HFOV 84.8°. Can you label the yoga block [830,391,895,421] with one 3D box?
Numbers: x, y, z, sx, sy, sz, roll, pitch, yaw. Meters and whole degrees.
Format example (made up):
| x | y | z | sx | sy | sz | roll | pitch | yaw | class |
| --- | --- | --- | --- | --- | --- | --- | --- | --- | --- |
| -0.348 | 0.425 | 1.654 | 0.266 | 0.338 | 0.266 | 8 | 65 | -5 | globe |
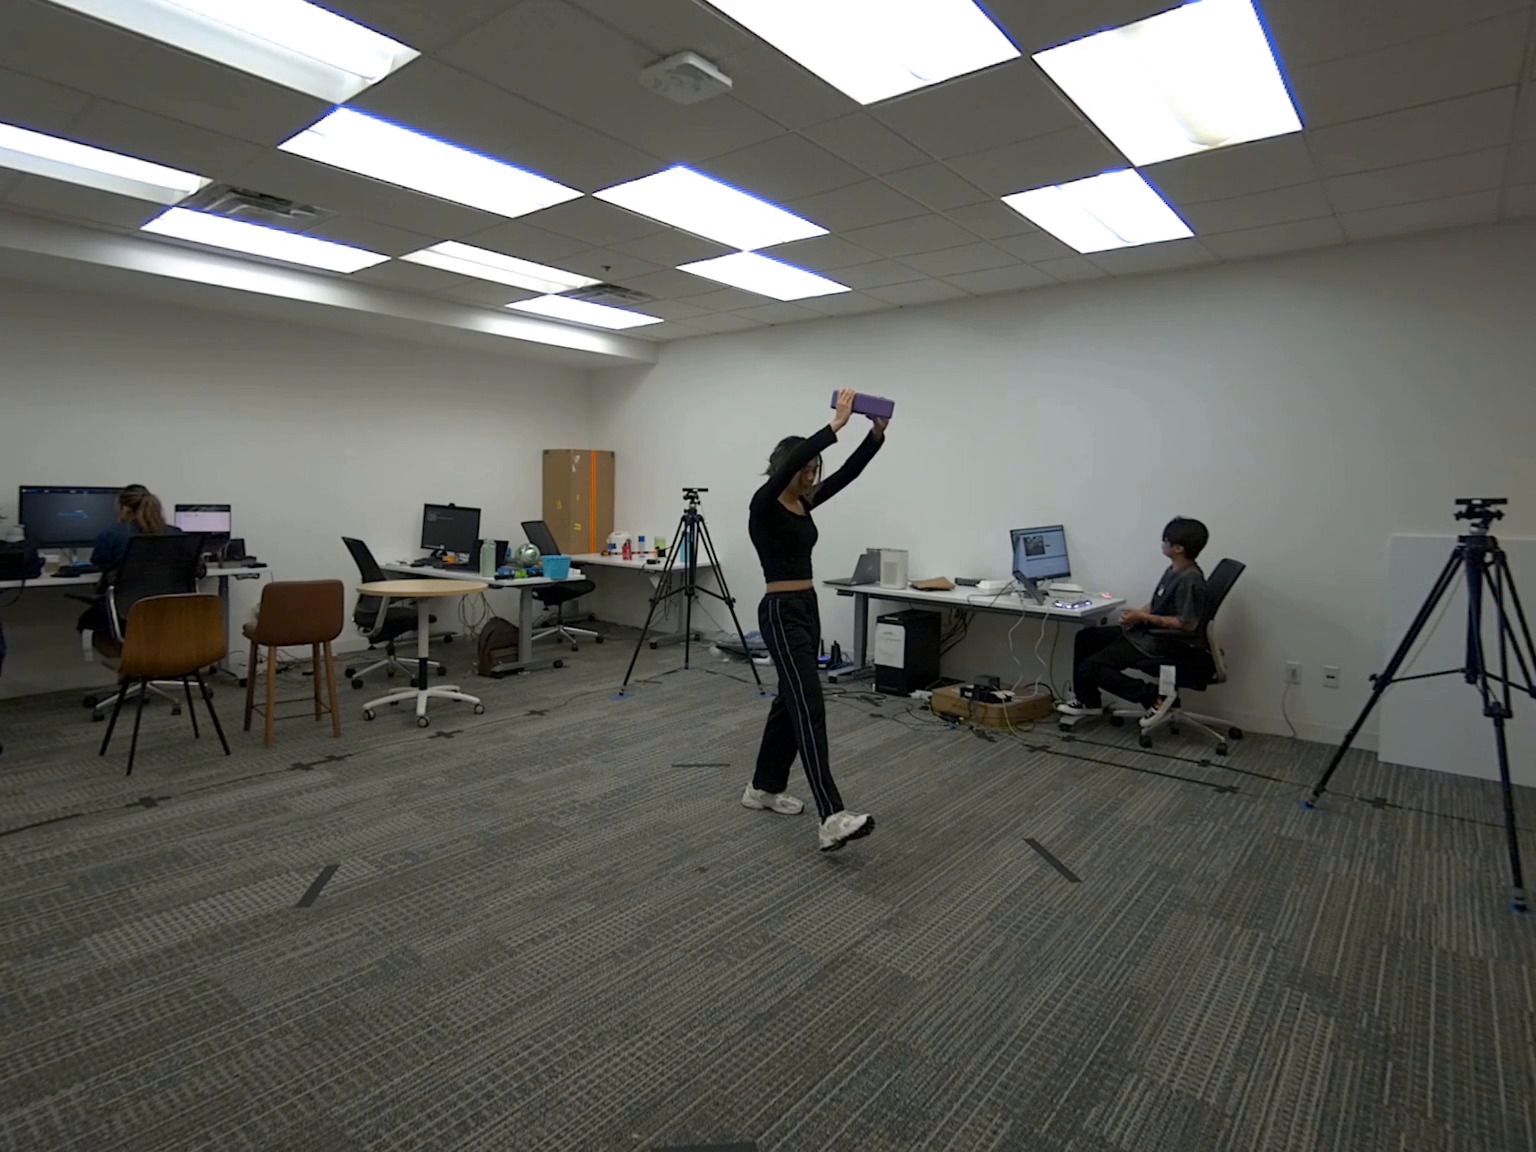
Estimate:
| x | y | z | sx | sy | sz | roll | pitch | yaw | class |
| --- | --- | --- | --- | --- | --- | --- | --- | --- | --- |
| 0.371 | -0.687 | 3.375 | 0.222 | 0.076 | 0.155 | -1 | 12 | -45 | yoga block |
